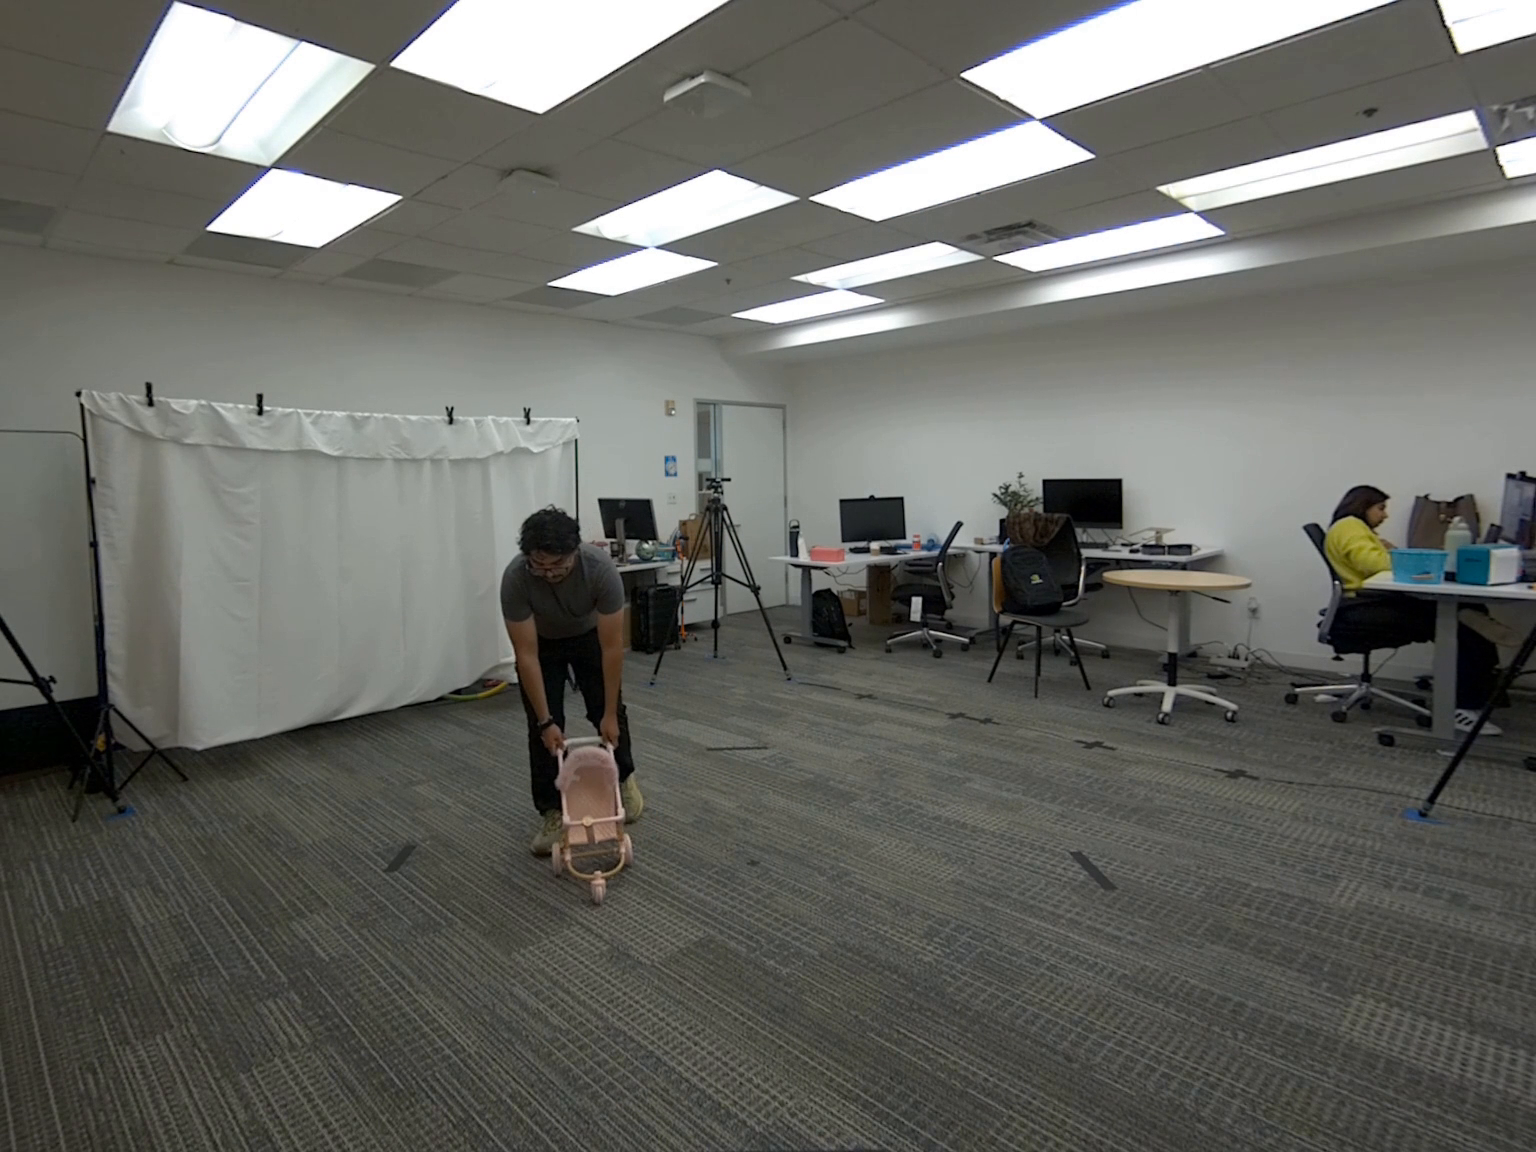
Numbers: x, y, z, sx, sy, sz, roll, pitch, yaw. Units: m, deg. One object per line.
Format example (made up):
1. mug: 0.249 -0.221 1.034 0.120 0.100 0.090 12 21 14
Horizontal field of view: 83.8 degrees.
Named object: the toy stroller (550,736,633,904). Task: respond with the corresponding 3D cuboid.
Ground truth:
1. toy stroller: -0.616 0.838 2.999 0.279 0.541 0.341 -3 -11 -11
